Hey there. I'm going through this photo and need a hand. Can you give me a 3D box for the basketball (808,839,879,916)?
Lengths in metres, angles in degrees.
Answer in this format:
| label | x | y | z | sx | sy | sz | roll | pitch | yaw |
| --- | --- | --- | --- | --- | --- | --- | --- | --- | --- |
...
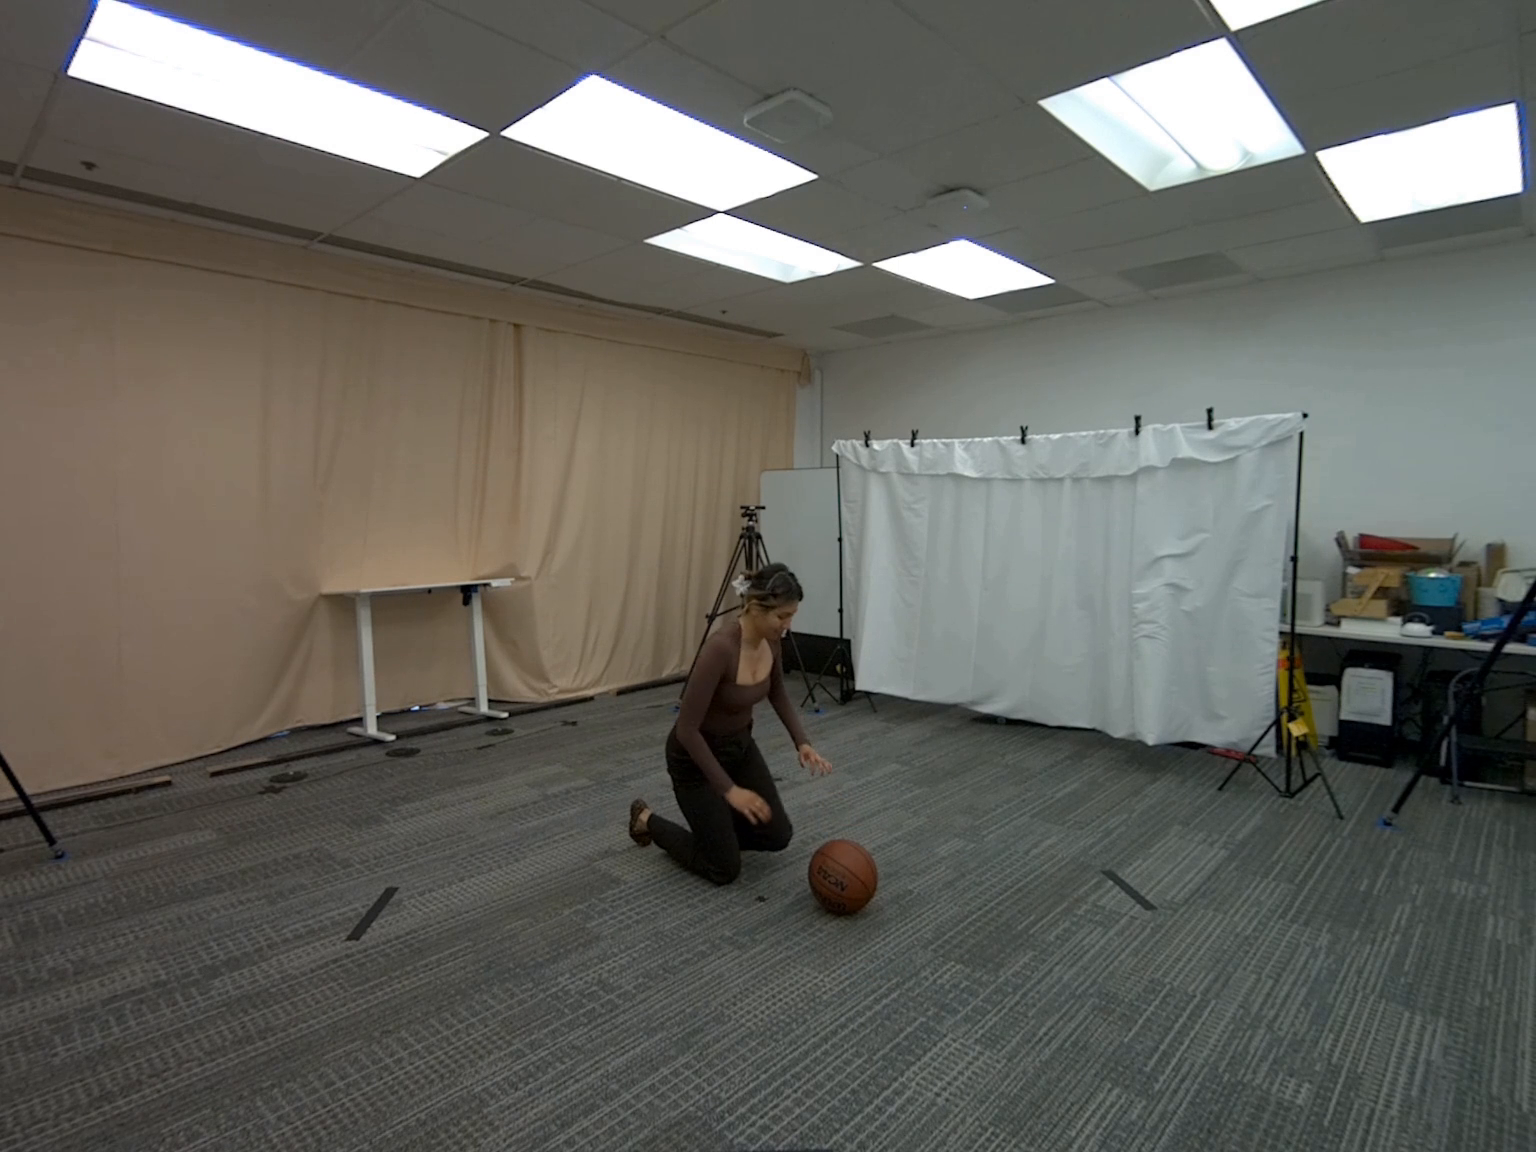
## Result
| label | x | y | z | sx | sy | sz | roll | pitch | yaw |
| --- | --- | --- | --- | --- | --- | --- | --- | --- | --- |
| basketball | 0.266 | 1.029 | 2.898 | 0.236 | 0.235 | 0.237 | 0 | 4 | -2 |
